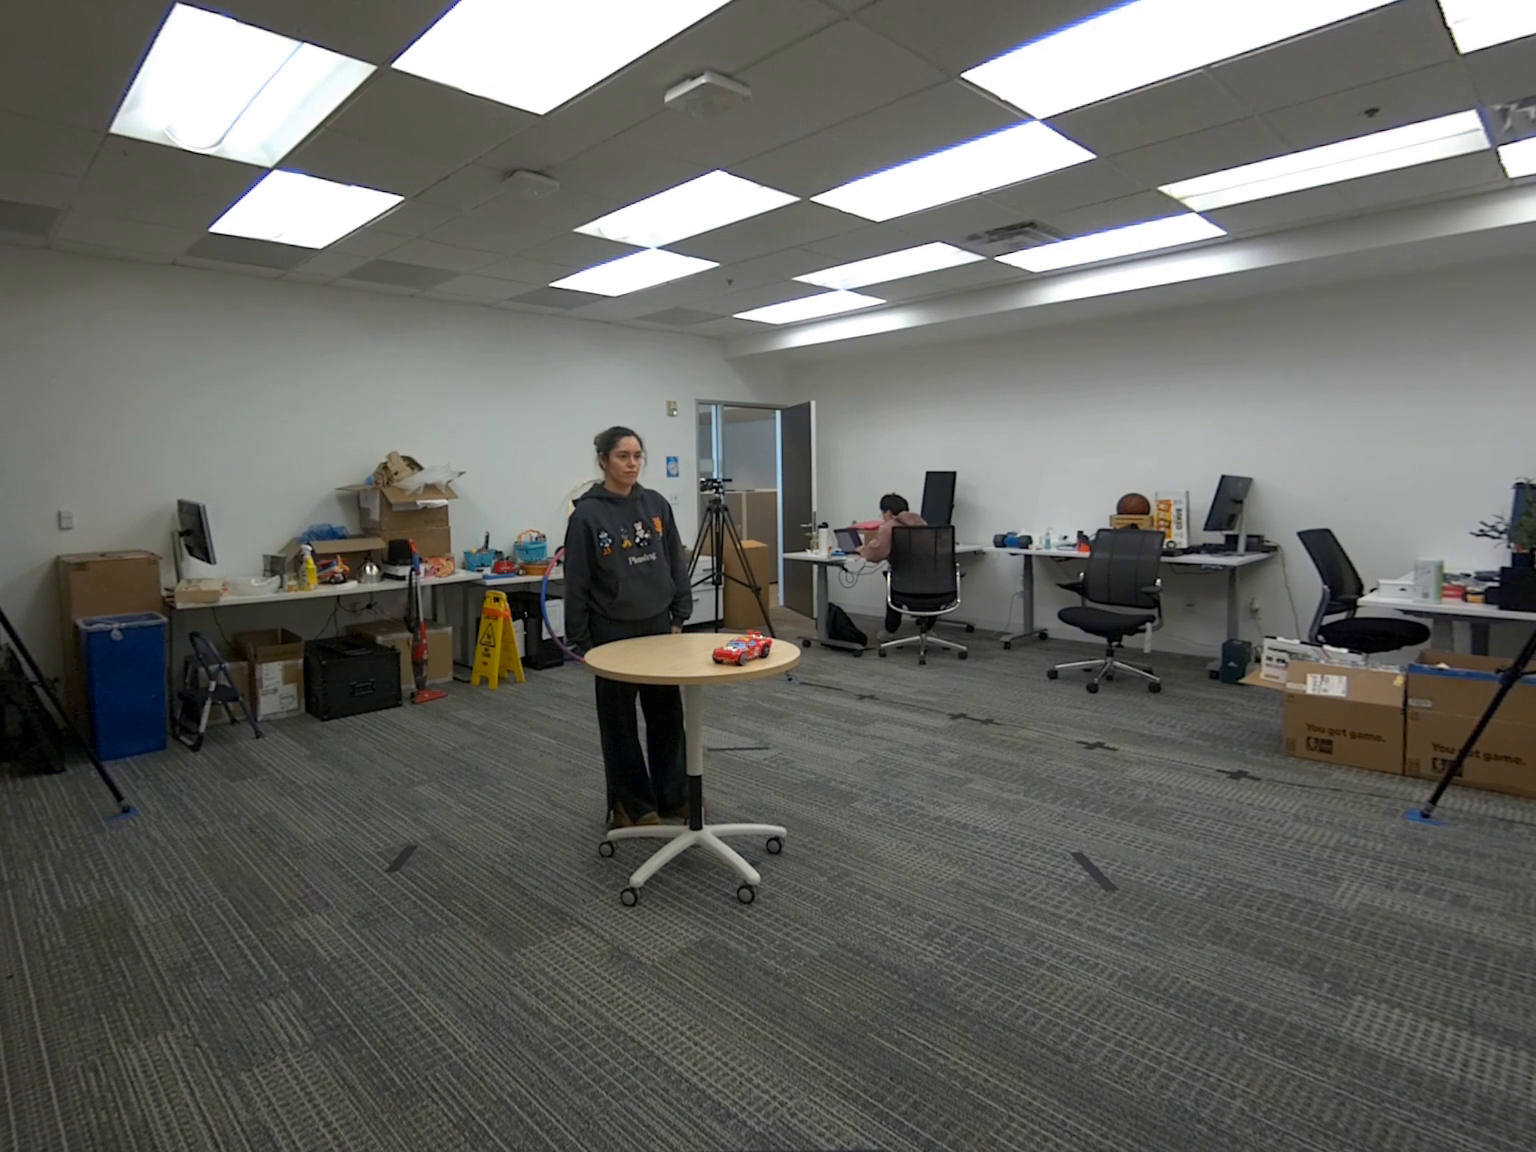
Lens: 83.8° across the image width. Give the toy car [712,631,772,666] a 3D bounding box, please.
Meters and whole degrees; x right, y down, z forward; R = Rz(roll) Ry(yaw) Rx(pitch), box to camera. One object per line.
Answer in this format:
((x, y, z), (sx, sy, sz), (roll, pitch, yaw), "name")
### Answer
((-0.077, 0.253, 2.901), (0.134, 0.082, 0.251), (1, 18, 31), "toy car")
